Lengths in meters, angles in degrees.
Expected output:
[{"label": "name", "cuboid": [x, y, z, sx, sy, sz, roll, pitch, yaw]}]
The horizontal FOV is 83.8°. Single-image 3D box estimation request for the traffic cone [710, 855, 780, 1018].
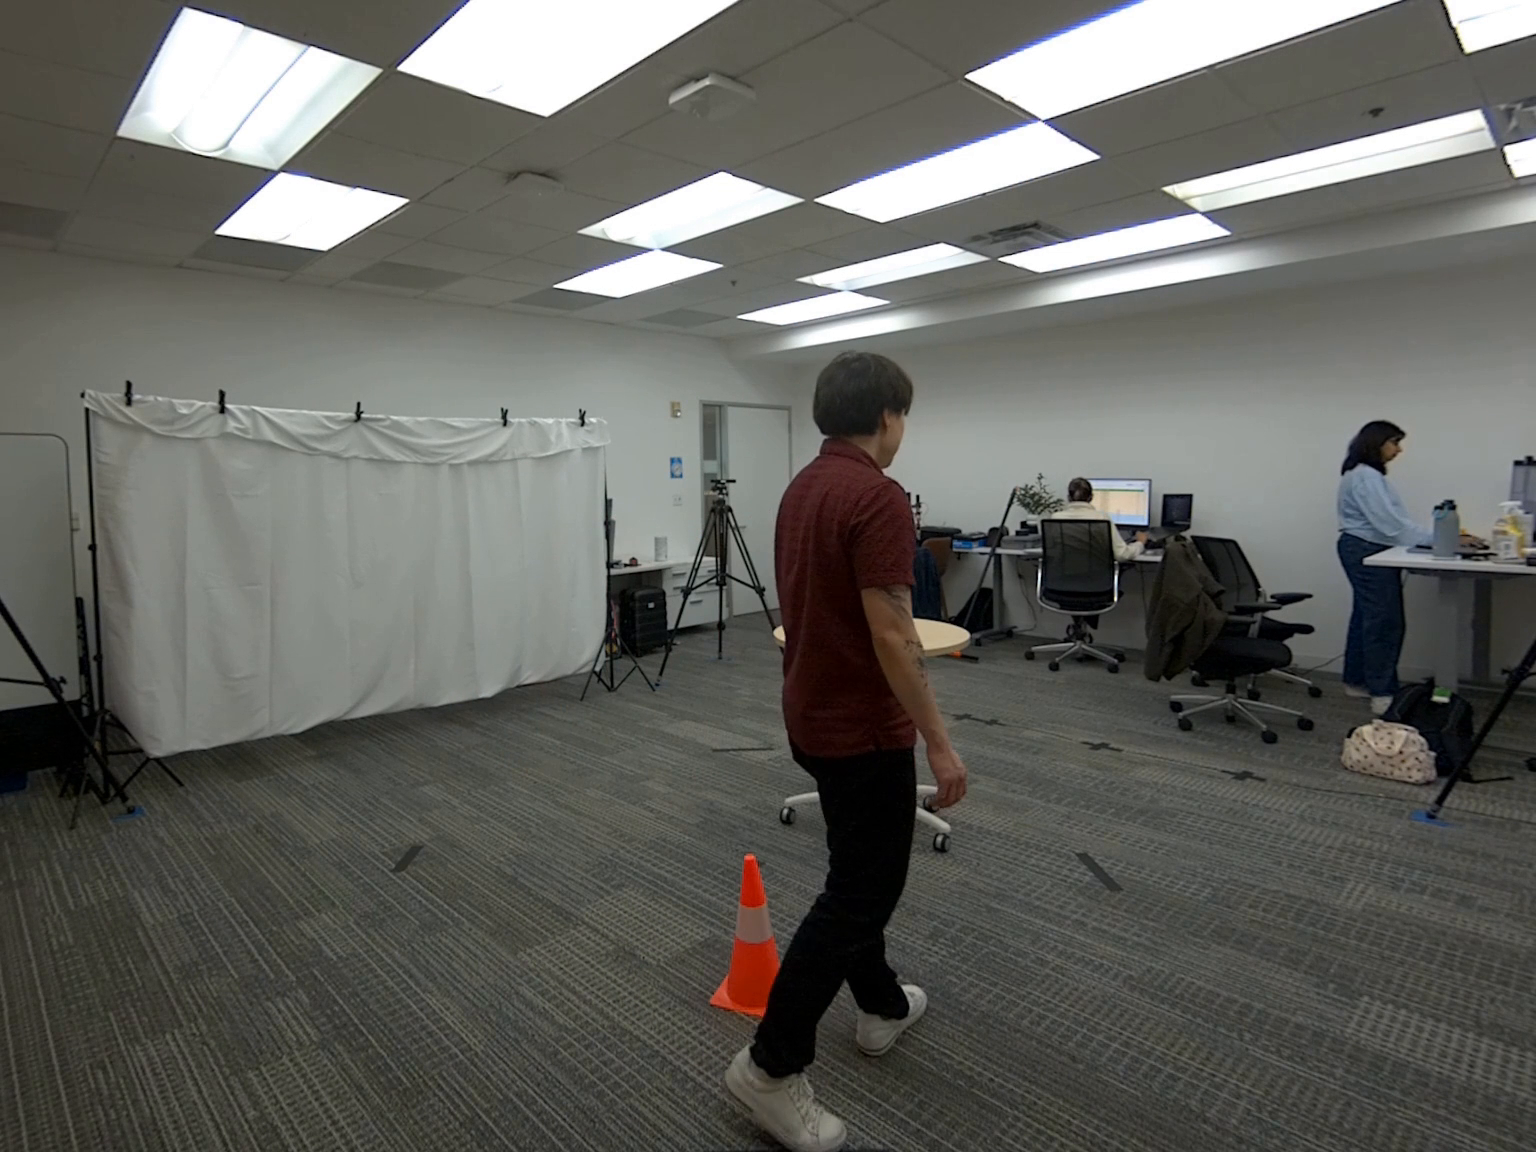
[{"label": "traffic cone", "cuboid": [-0.028, 0.956, 2.315, 0.209, 0.382, 0.200, 1, 6, 21]}]
